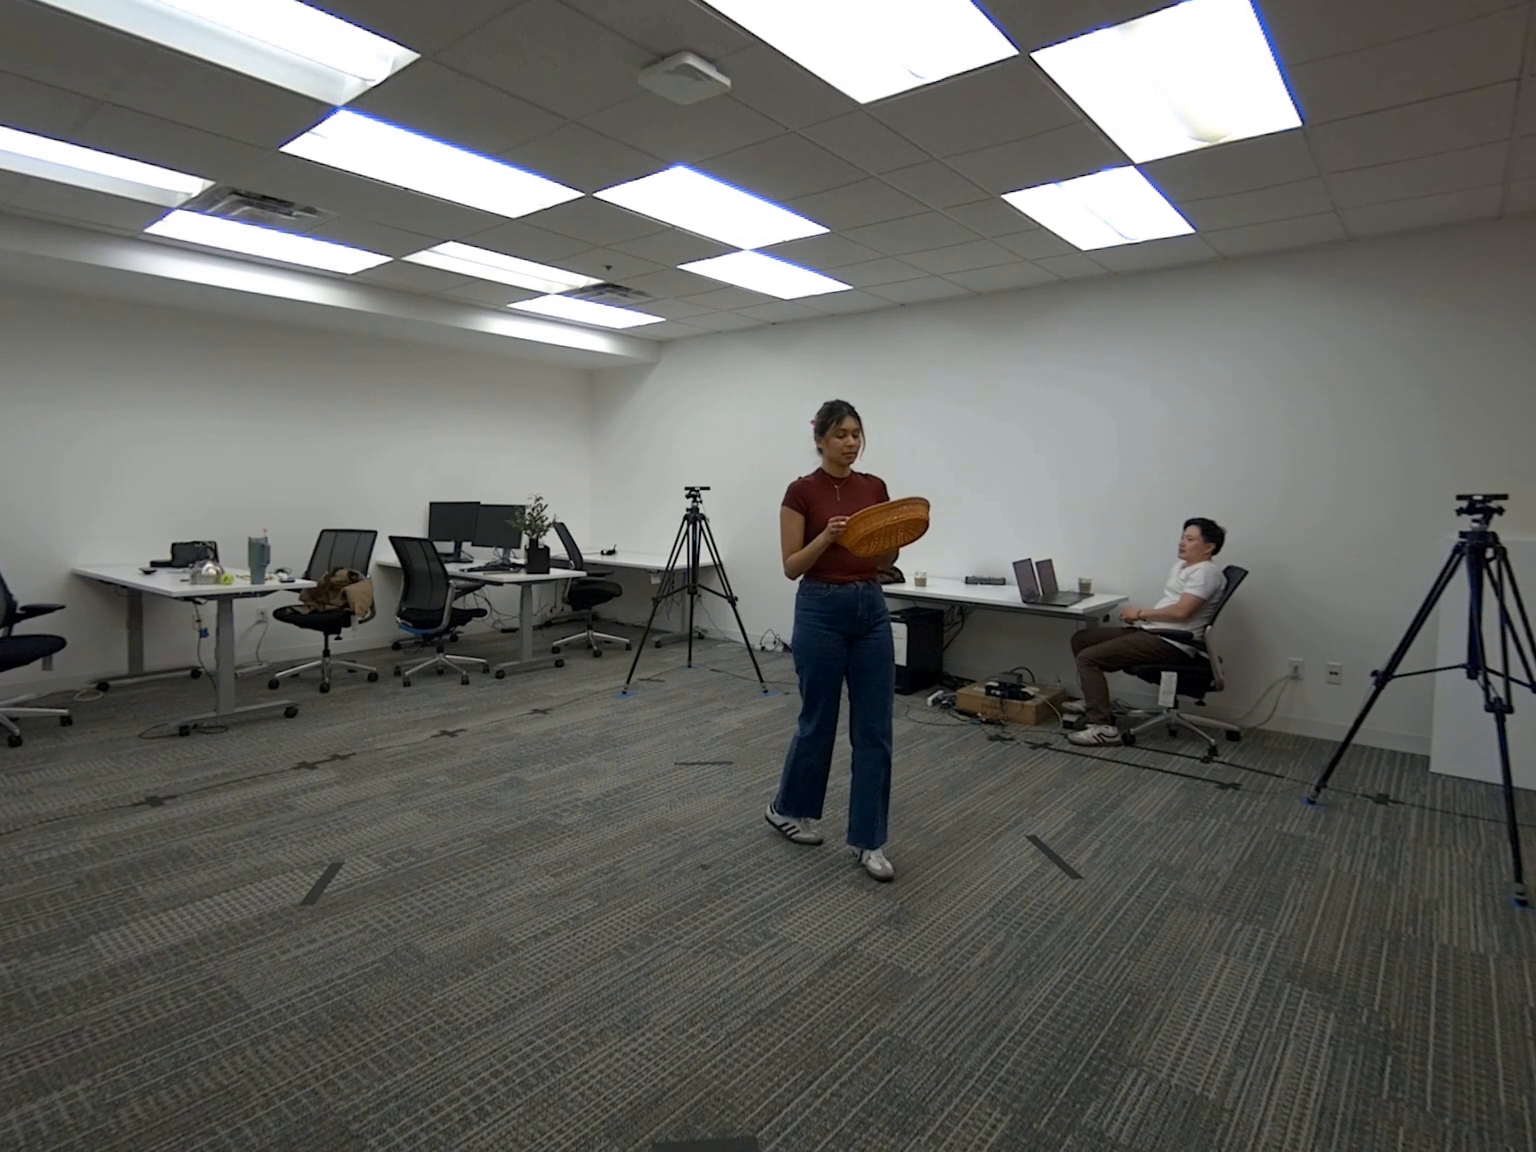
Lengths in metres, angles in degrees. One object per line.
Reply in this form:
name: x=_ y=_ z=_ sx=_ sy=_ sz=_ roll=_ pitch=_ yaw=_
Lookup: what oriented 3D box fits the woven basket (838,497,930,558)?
woven basket: x=0.392 y=-0.163 z=2.911 sx=0.347 sy=0.076 sz=0.246 roll=-13 pitch=-32 yaw=-12
